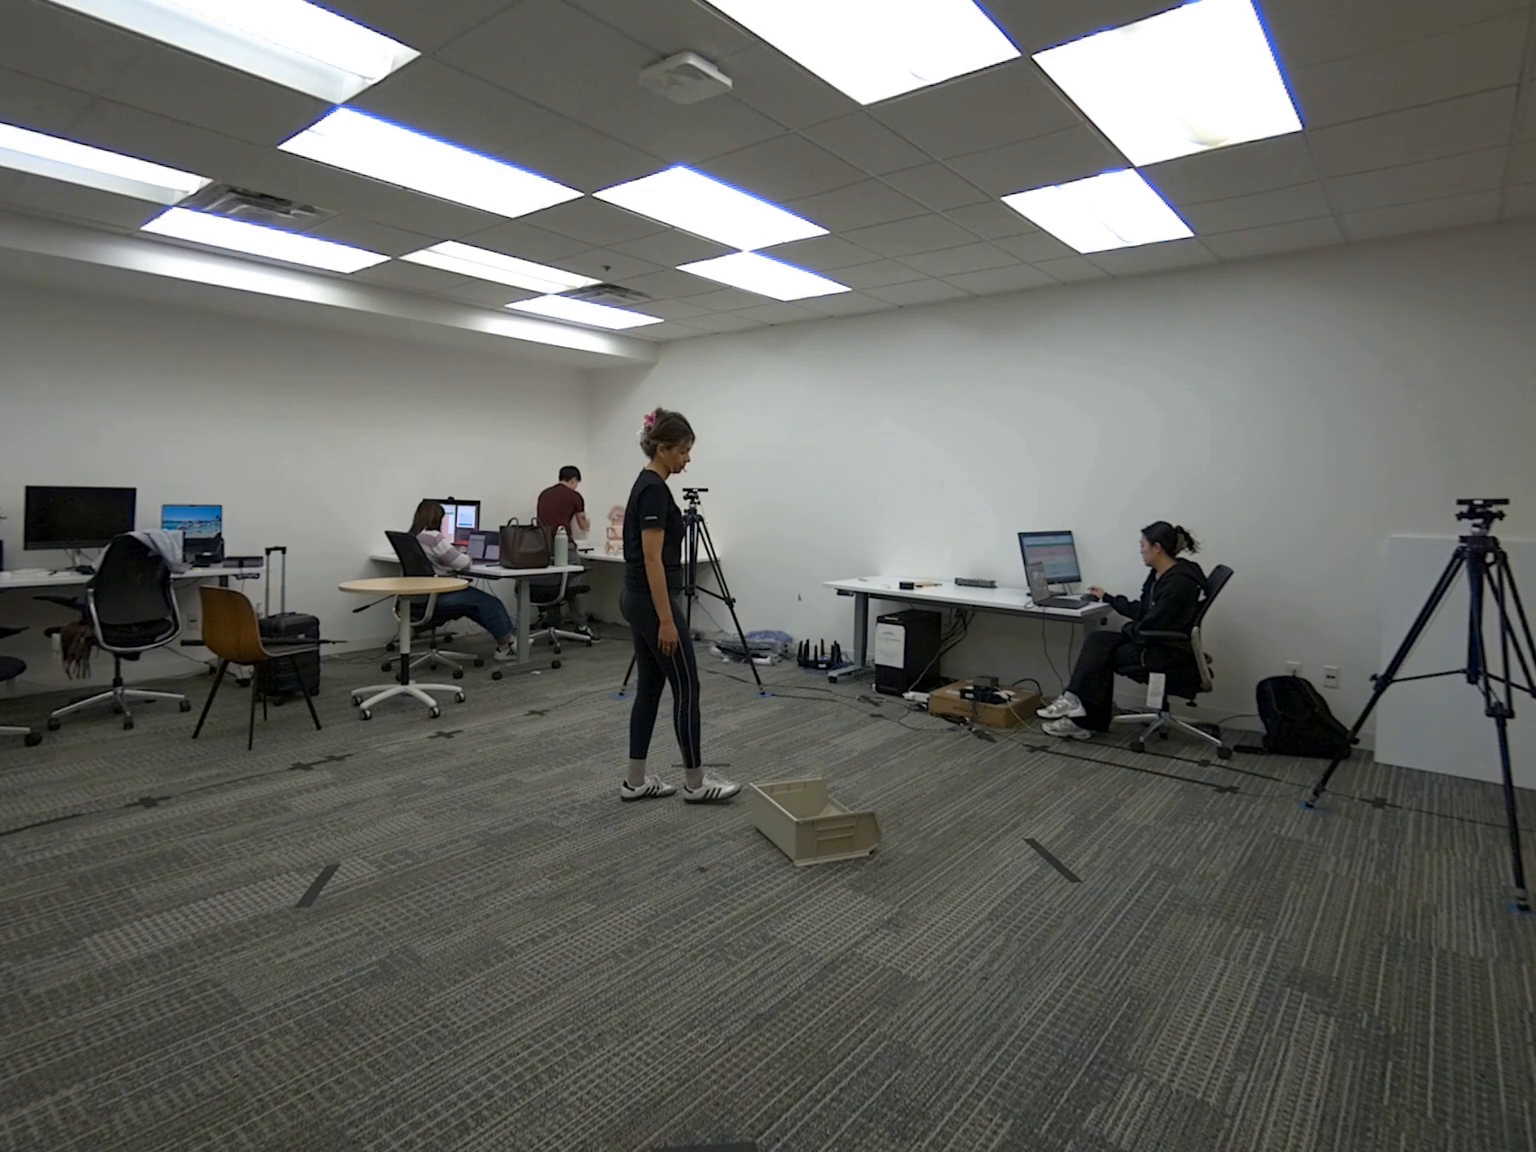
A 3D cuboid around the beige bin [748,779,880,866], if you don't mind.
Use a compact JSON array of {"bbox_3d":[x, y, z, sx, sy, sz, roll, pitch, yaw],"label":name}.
[{"bbox_3d":[0.174,0.961,3.397,0.369,0.188,0.434,-2,6,-24],"label":"beige bin"}]
